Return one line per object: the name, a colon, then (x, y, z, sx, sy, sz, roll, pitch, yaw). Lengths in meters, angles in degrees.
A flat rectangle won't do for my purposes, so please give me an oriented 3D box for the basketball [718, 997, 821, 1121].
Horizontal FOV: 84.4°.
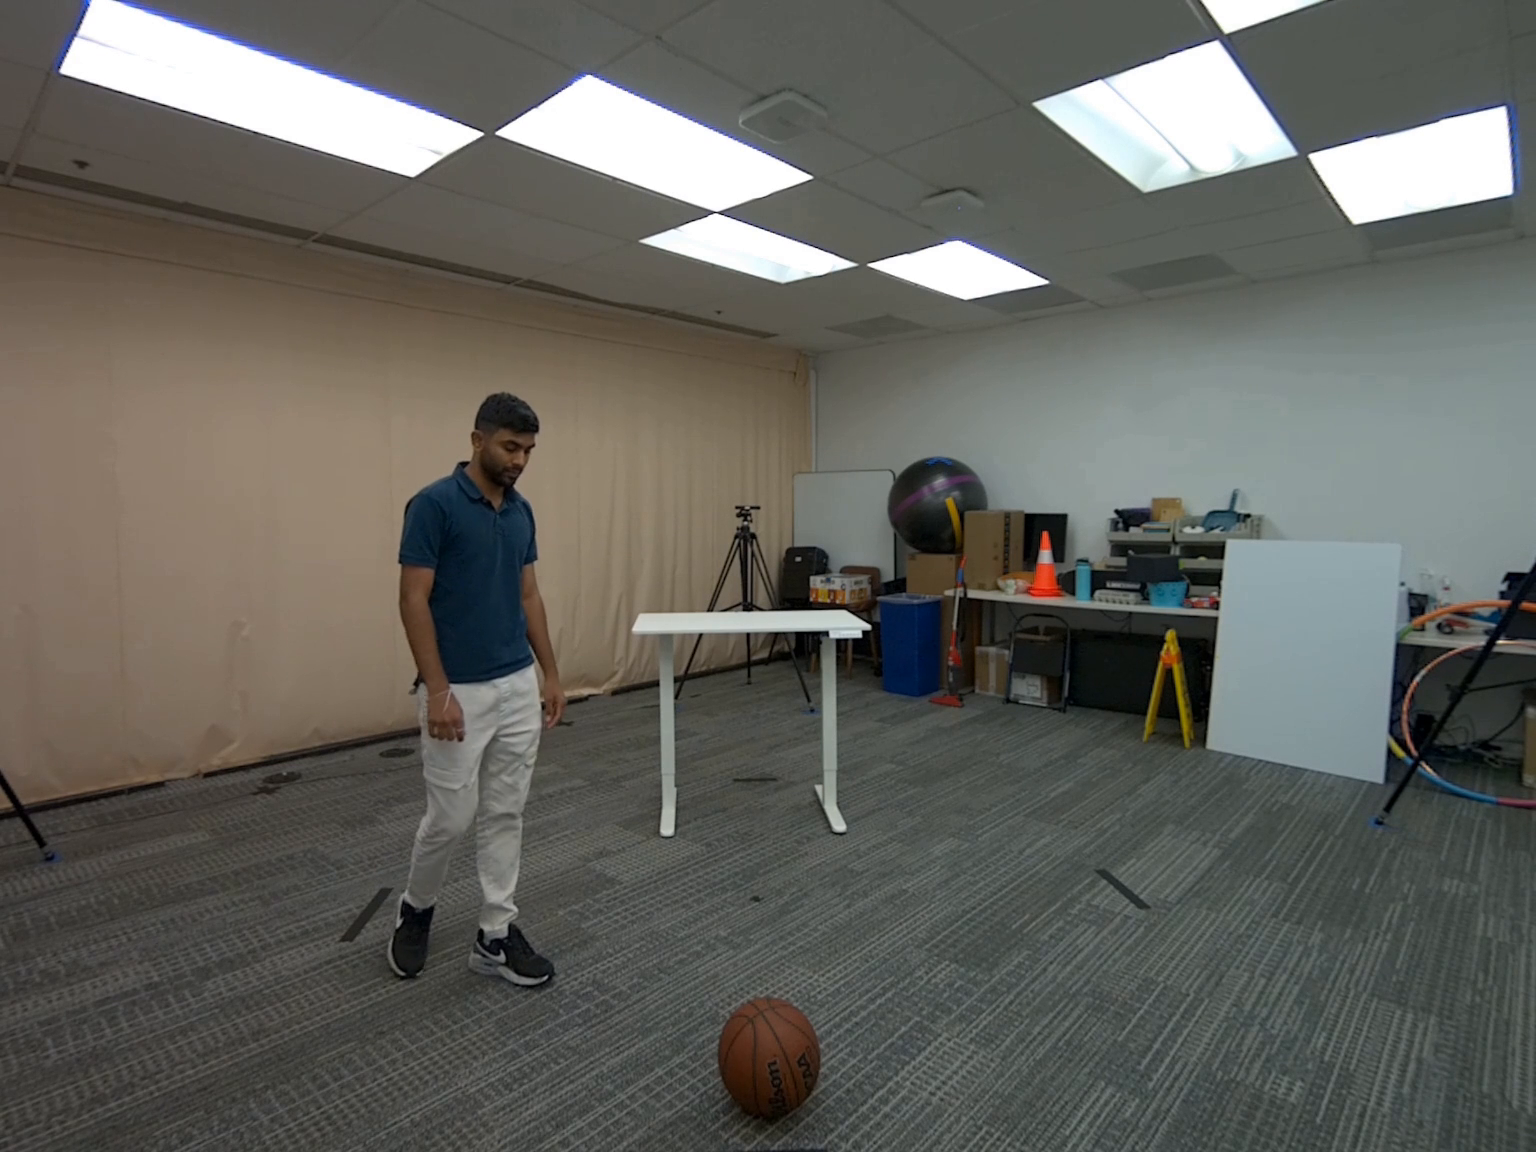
basketball: (0.006, 1.113, 1.948, 0.236, 0.235, 0.237, 0, 4, -2)
